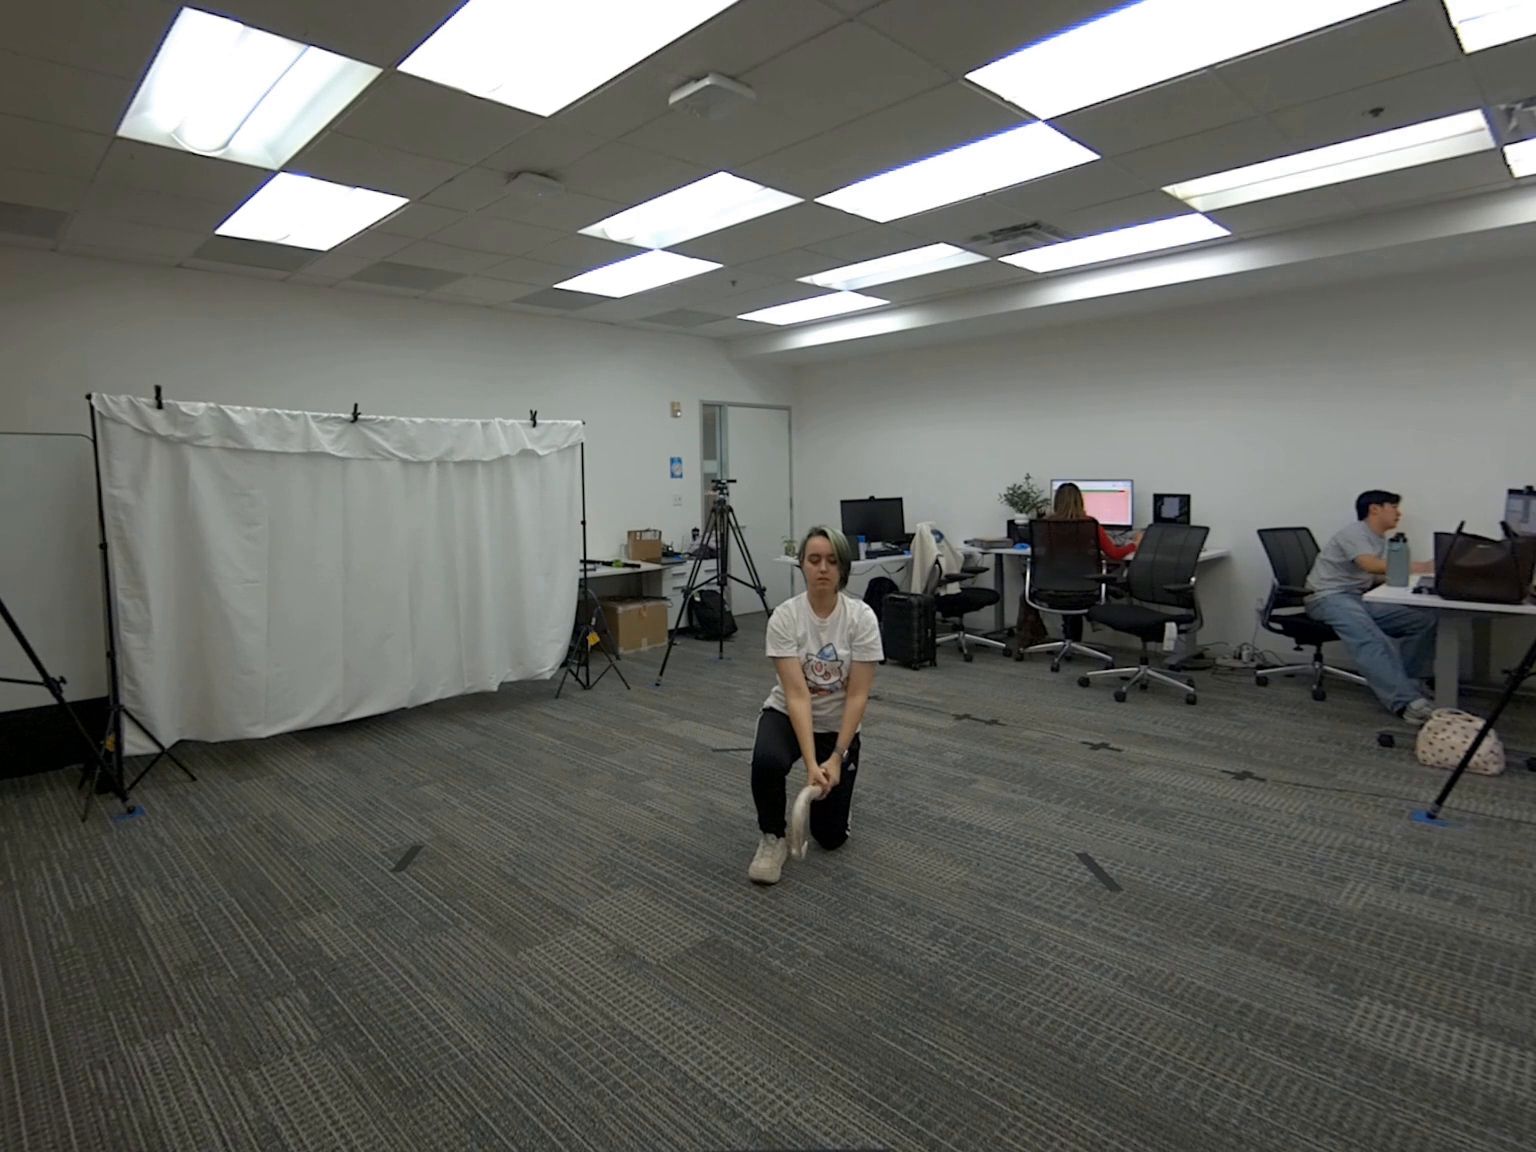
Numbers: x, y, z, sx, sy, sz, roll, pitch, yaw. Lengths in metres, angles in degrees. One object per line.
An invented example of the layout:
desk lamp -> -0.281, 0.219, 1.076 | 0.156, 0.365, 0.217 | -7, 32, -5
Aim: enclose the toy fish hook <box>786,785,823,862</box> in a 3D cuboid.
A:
toy fish hook -> 0.129, 0.745, 2.756 | 0.049, 0.224, 0.500 | 10, 6, 13
